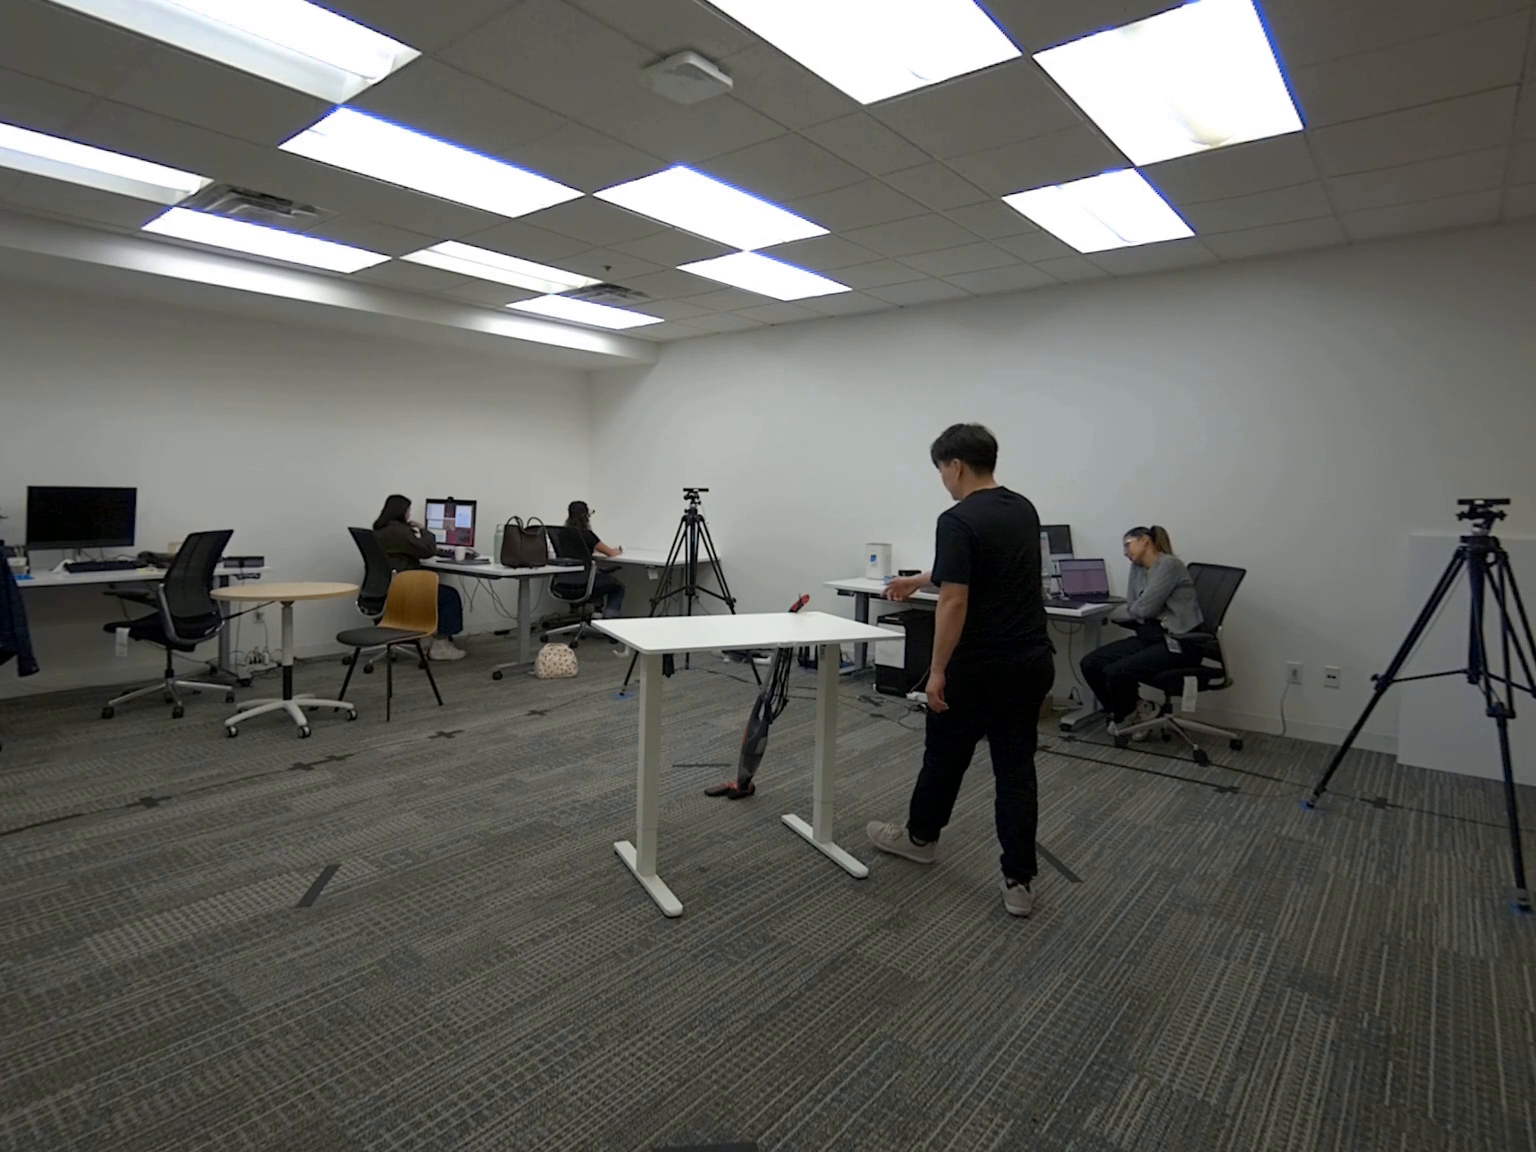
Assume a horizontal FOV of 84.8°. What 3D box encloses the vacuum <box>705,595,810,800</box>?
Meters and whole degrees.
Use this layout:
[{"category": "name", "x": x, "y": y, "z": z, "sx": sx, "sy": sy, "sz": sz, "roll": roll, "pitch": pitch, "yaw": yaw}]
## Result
[{"category": "vacuum", "x": -0.010, "y": 0.535, "z": 3.715, "sx": 0.245, "sy": 1.037, "sz": 0.150, "roll": -4, "pitch": 31, "yaw": -44}]
